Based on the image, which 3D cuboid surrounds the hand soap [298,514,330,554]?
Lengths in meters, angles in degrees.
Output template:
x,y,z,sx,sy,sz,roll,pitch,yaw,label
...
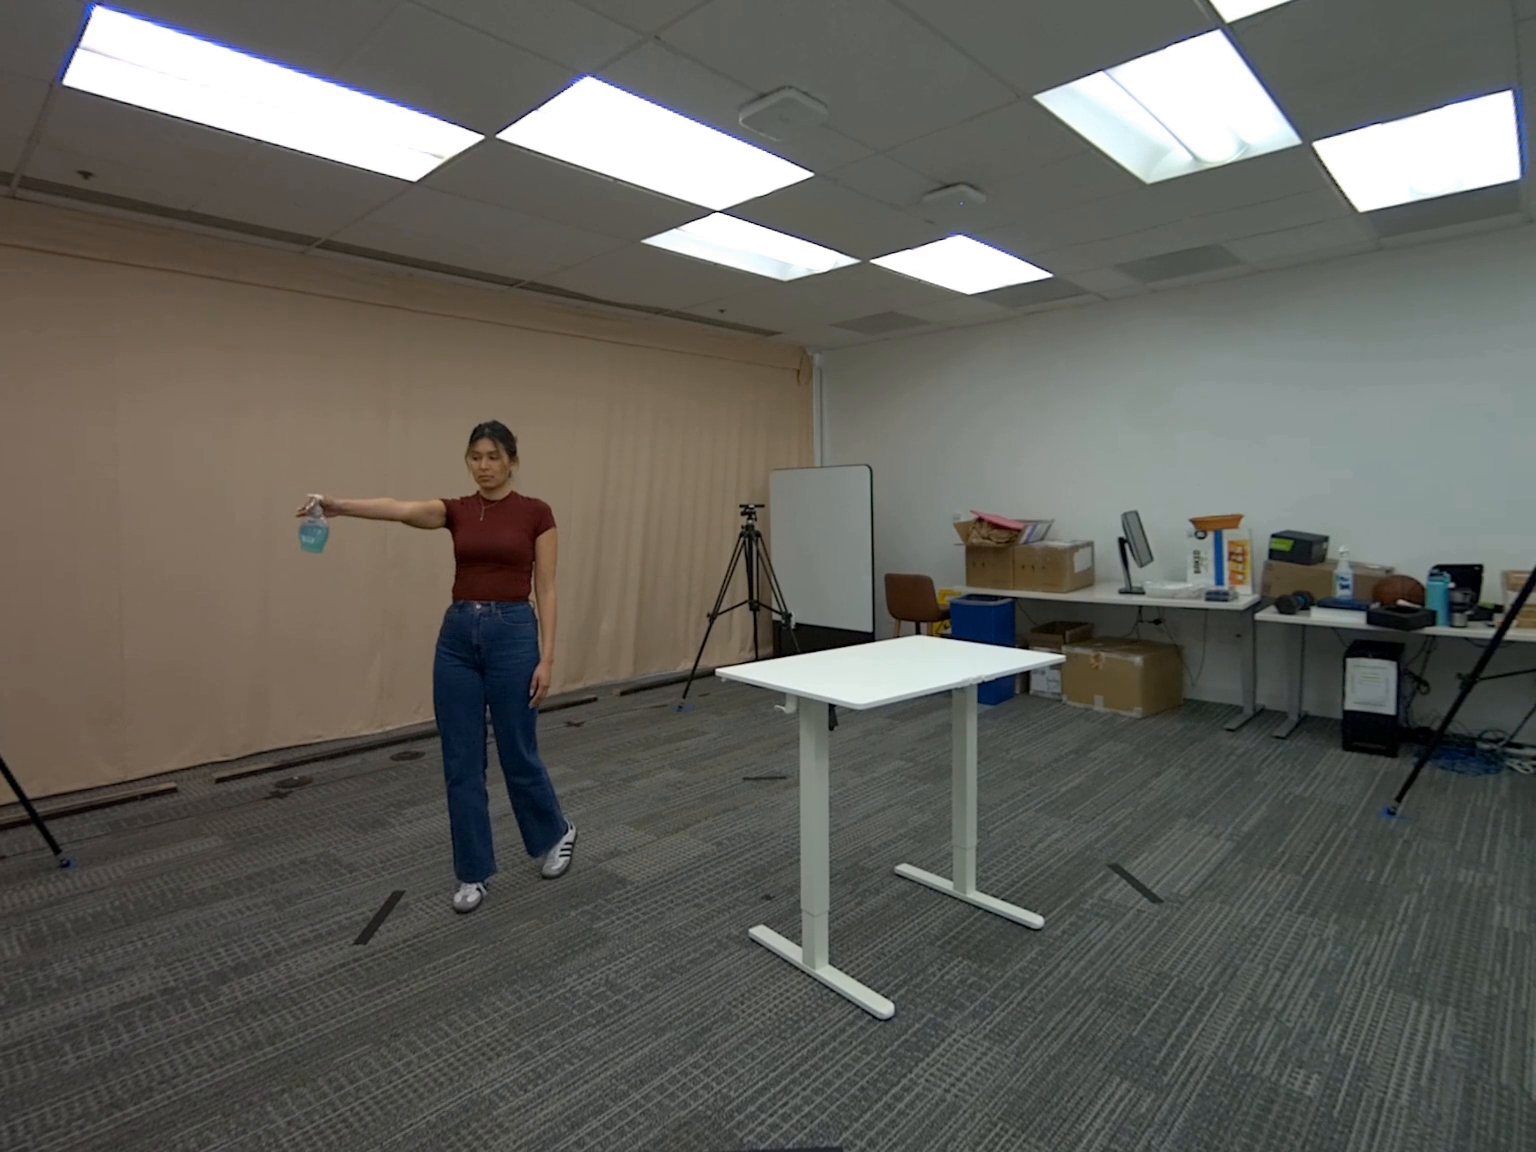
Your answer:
x,y,z,sx,sy,sz,roll,pitch,yaw,label
-1.312,-0.147,2.466,0.085,0.168,0.043,13,3,10,hand soap
